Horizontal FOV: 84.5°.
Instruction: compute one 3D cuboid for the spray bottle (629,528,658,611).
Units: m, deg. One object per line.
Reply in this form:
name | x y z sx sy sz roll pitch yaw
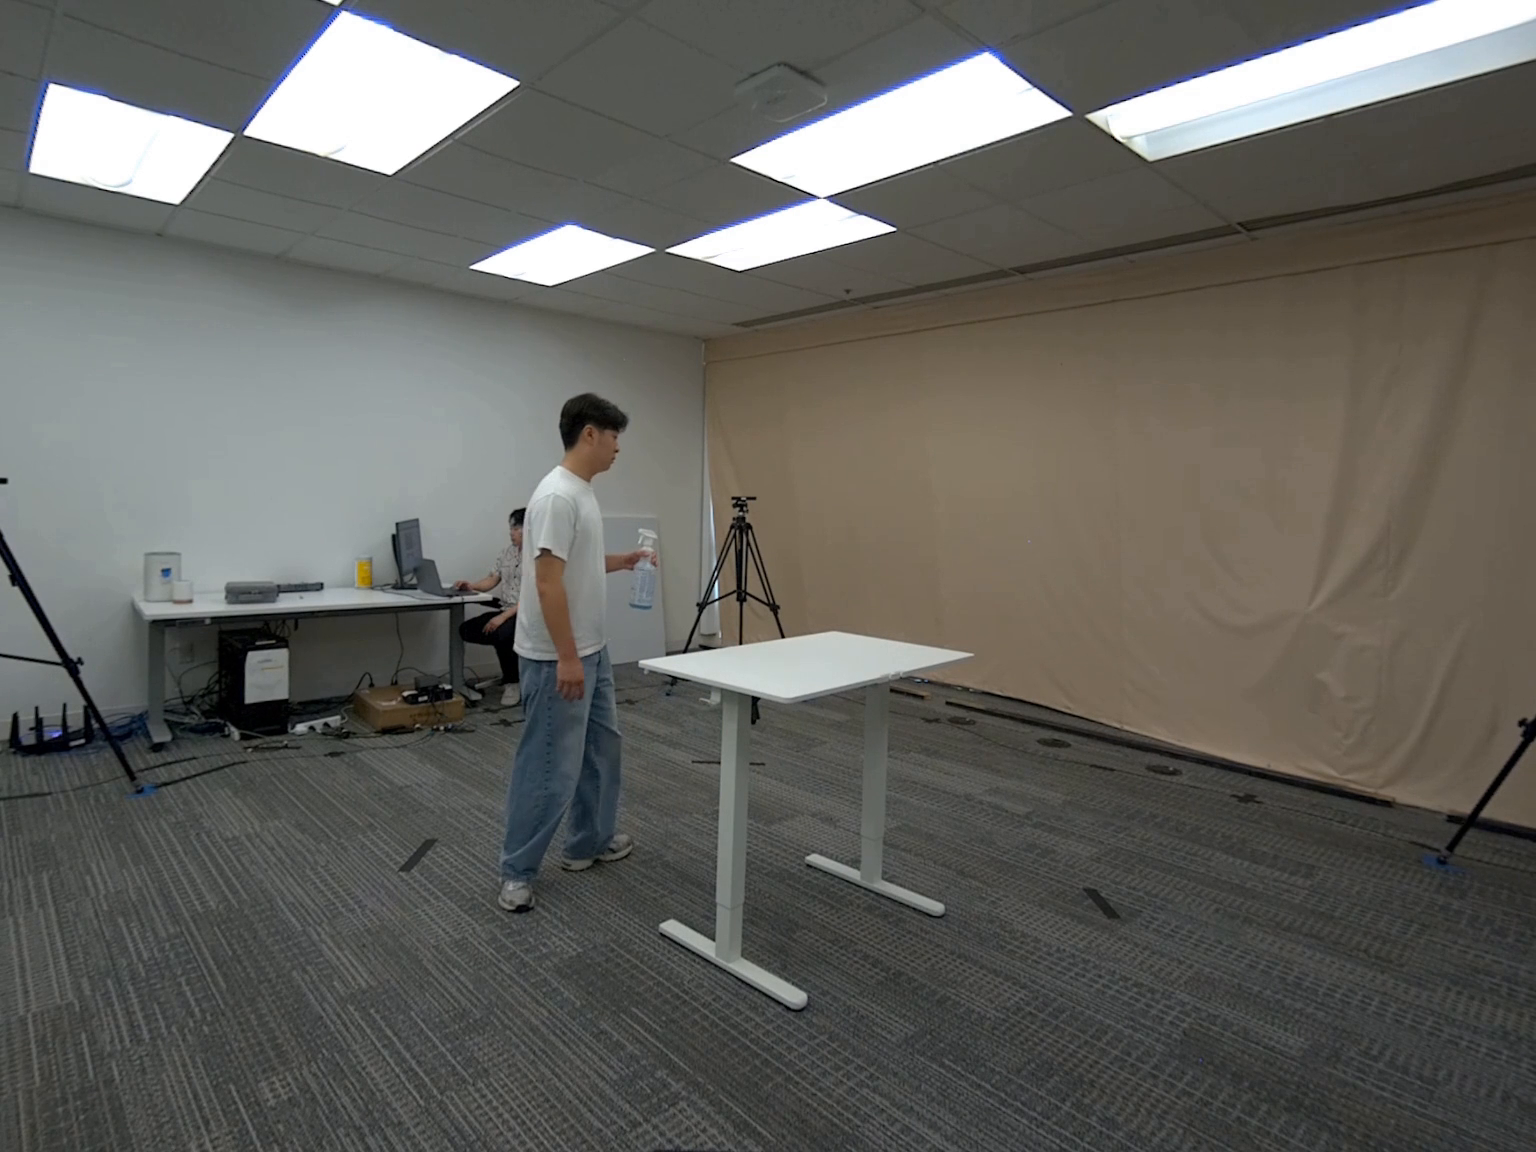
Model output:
spray bottle | -0.477 -0.028 3.175 0.088 0.297 0.089 5 1 -26
